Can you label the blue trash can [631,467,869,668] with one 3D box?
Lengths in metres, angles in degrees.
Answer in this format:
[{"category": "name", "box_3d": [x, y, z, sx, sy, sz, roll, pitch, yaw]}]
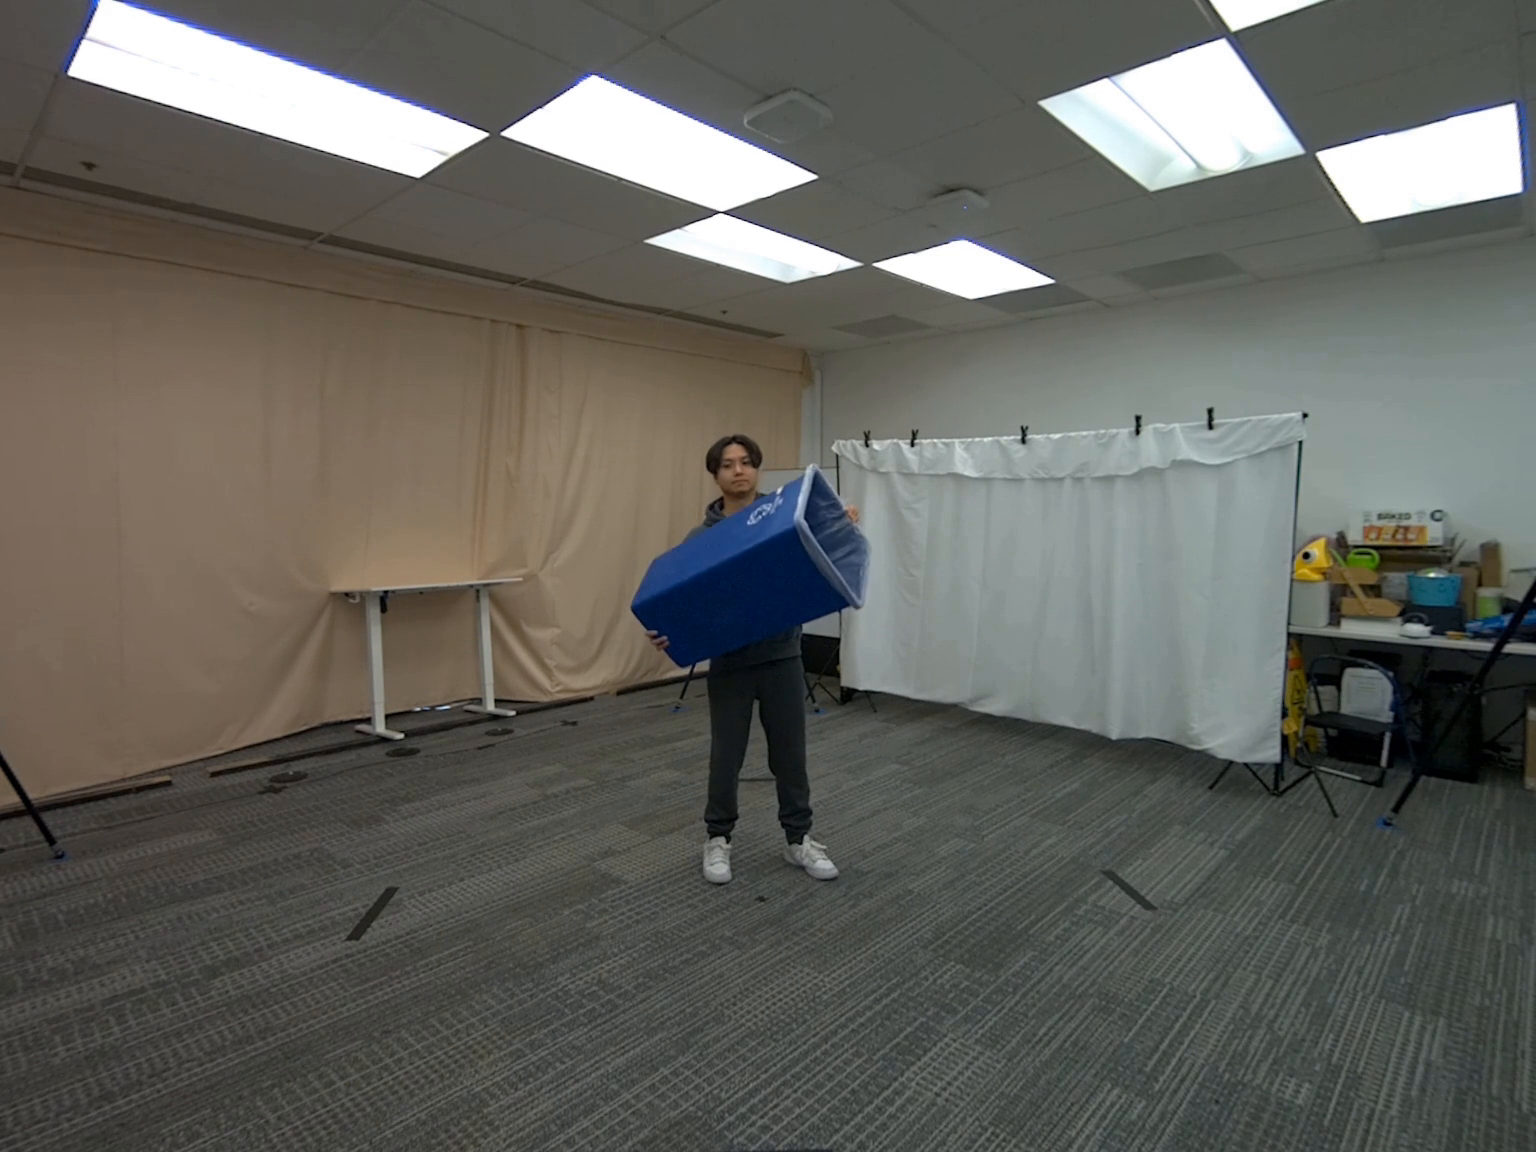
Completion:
[{"category": "blue trash can", "box_3d": [-0.061, 0.006, 2.806, 0.725, 0.369, 0.377, -26, 26, 27]}]
